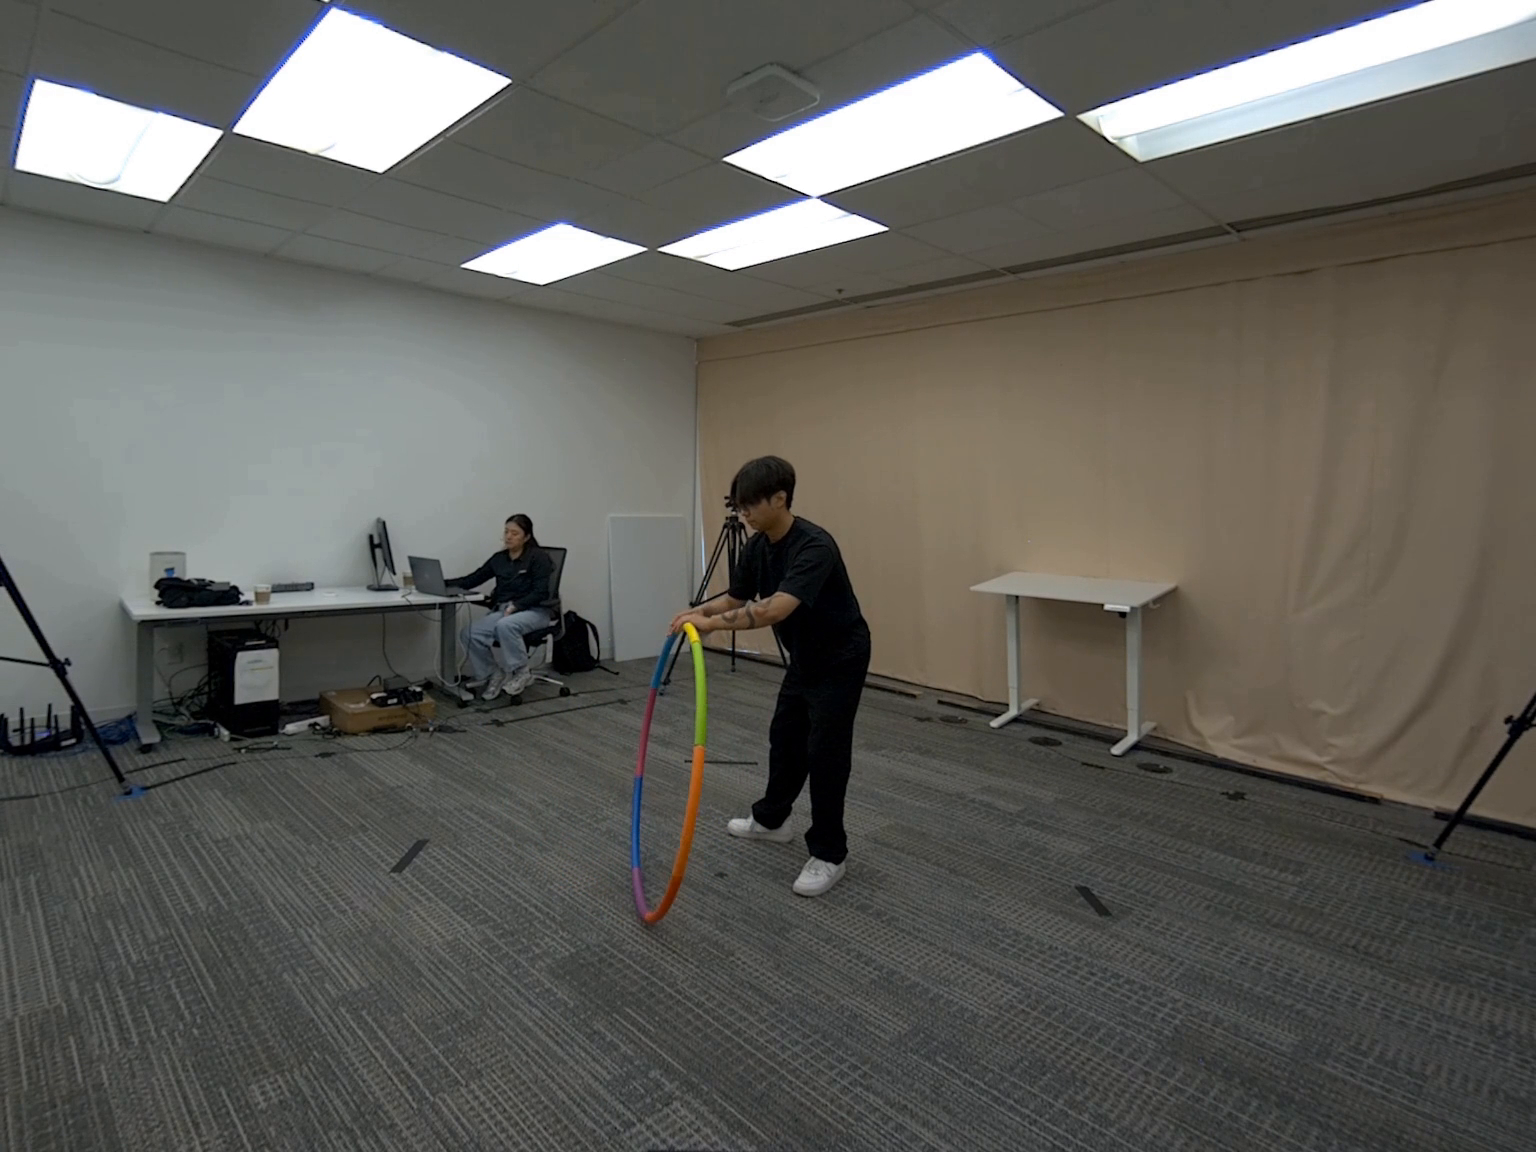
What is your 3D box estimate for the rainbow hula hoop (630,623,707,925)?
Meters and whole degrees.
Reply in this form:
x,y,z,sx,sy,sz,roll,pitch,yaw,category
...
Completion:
x,y,z,sx,sy,sz,roll,pitch,yaw,category
-0.359,0.643,2.850,0.035,0.978,0.992,10,2,-16,rainbow hula hoop
